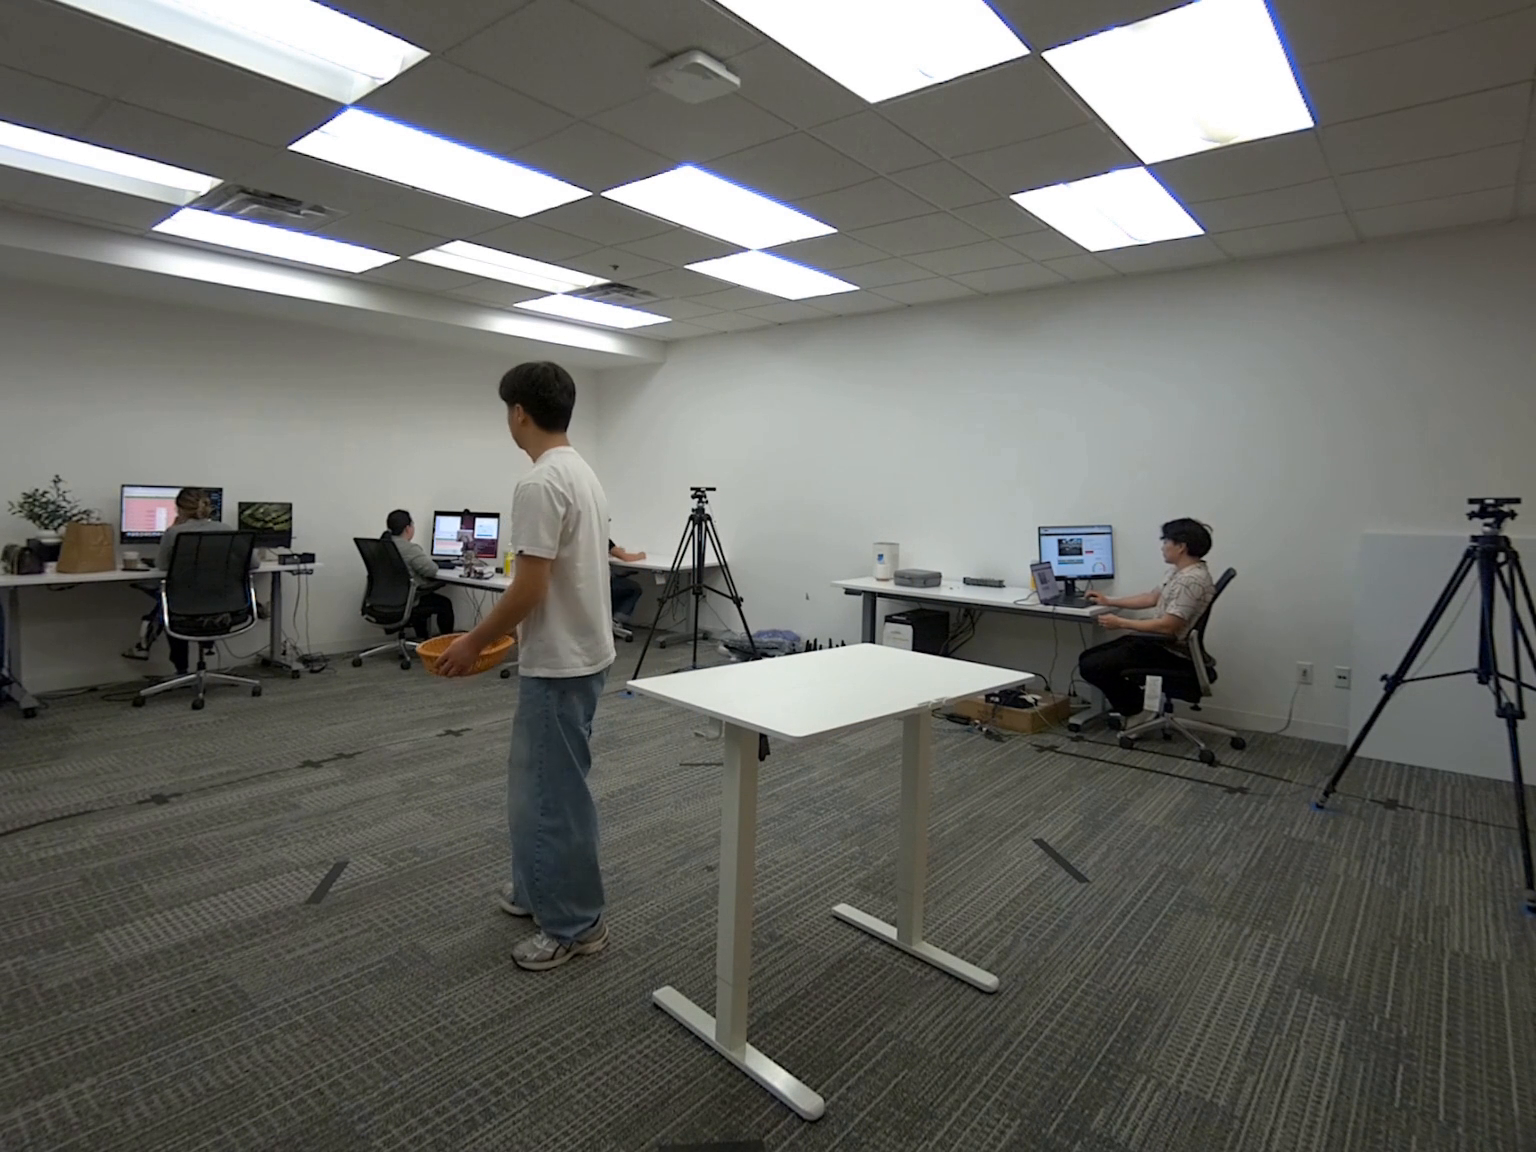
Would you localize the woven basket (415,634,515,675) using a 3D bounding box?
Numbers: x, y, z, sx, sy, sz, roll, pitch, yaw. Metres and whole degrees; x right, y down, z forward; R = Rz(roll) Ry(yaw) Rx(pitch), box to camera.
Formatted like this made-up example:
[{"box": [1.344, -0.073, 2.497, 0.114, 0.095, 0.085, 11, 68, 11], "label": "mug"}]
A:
[{"box": [-0.919, 0.236, 2.587, 0.255, 0.073, 0.348, 3, 7, 9], "label": "woven basket"}]
